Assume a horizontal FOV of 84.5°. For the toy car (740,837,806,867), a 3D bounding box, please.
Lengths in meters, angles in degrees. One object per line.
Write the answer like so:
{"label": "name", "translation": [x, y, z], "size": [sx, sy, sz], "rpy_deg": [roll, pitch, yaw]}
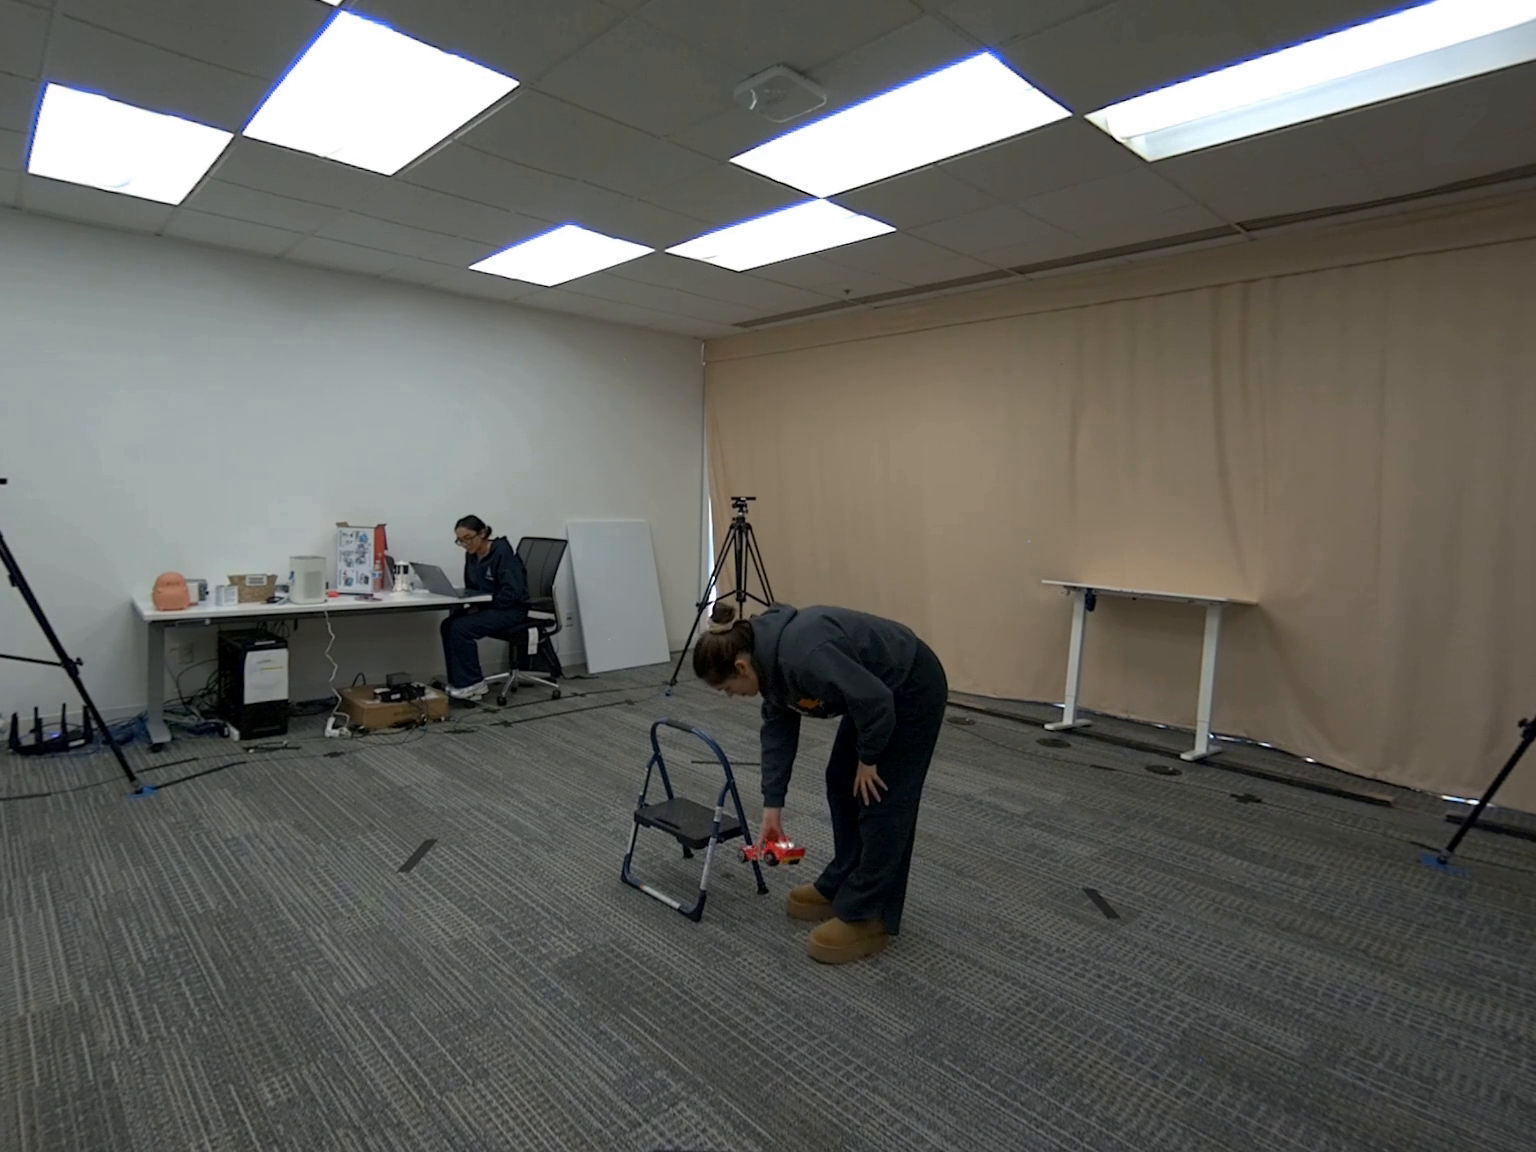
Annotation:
{"label": "toy car", "translation": [0.015, 0.897, 2.731], "size": [0.127, 0.085, 0.256], "rpy_deg": [13, -30, -37]}
